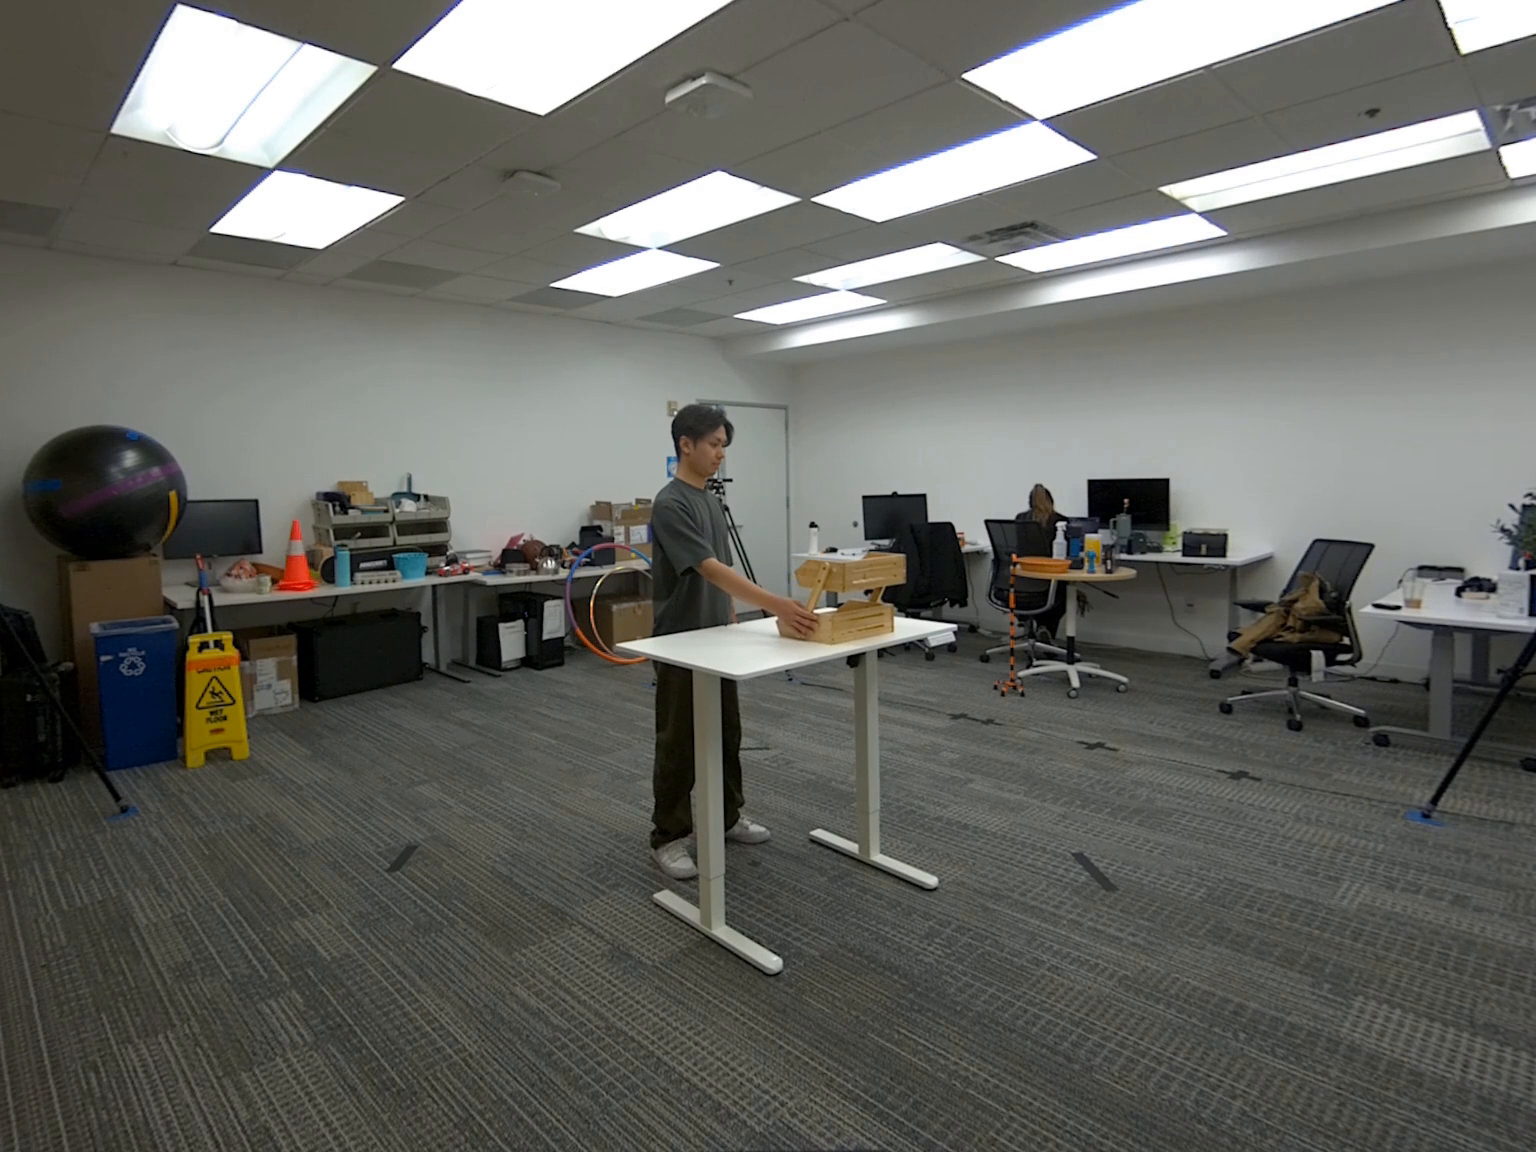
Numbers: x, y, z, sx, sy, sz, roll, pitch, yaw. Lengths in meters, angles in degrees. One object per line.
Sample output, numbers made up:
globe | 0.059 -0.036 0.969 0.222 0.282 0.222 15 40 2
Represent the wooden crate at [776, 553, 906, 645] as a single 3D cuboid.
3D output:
wooden crate | 0.239 0.059 2.787 0.316 0.272 0.311 -6 8 -41
